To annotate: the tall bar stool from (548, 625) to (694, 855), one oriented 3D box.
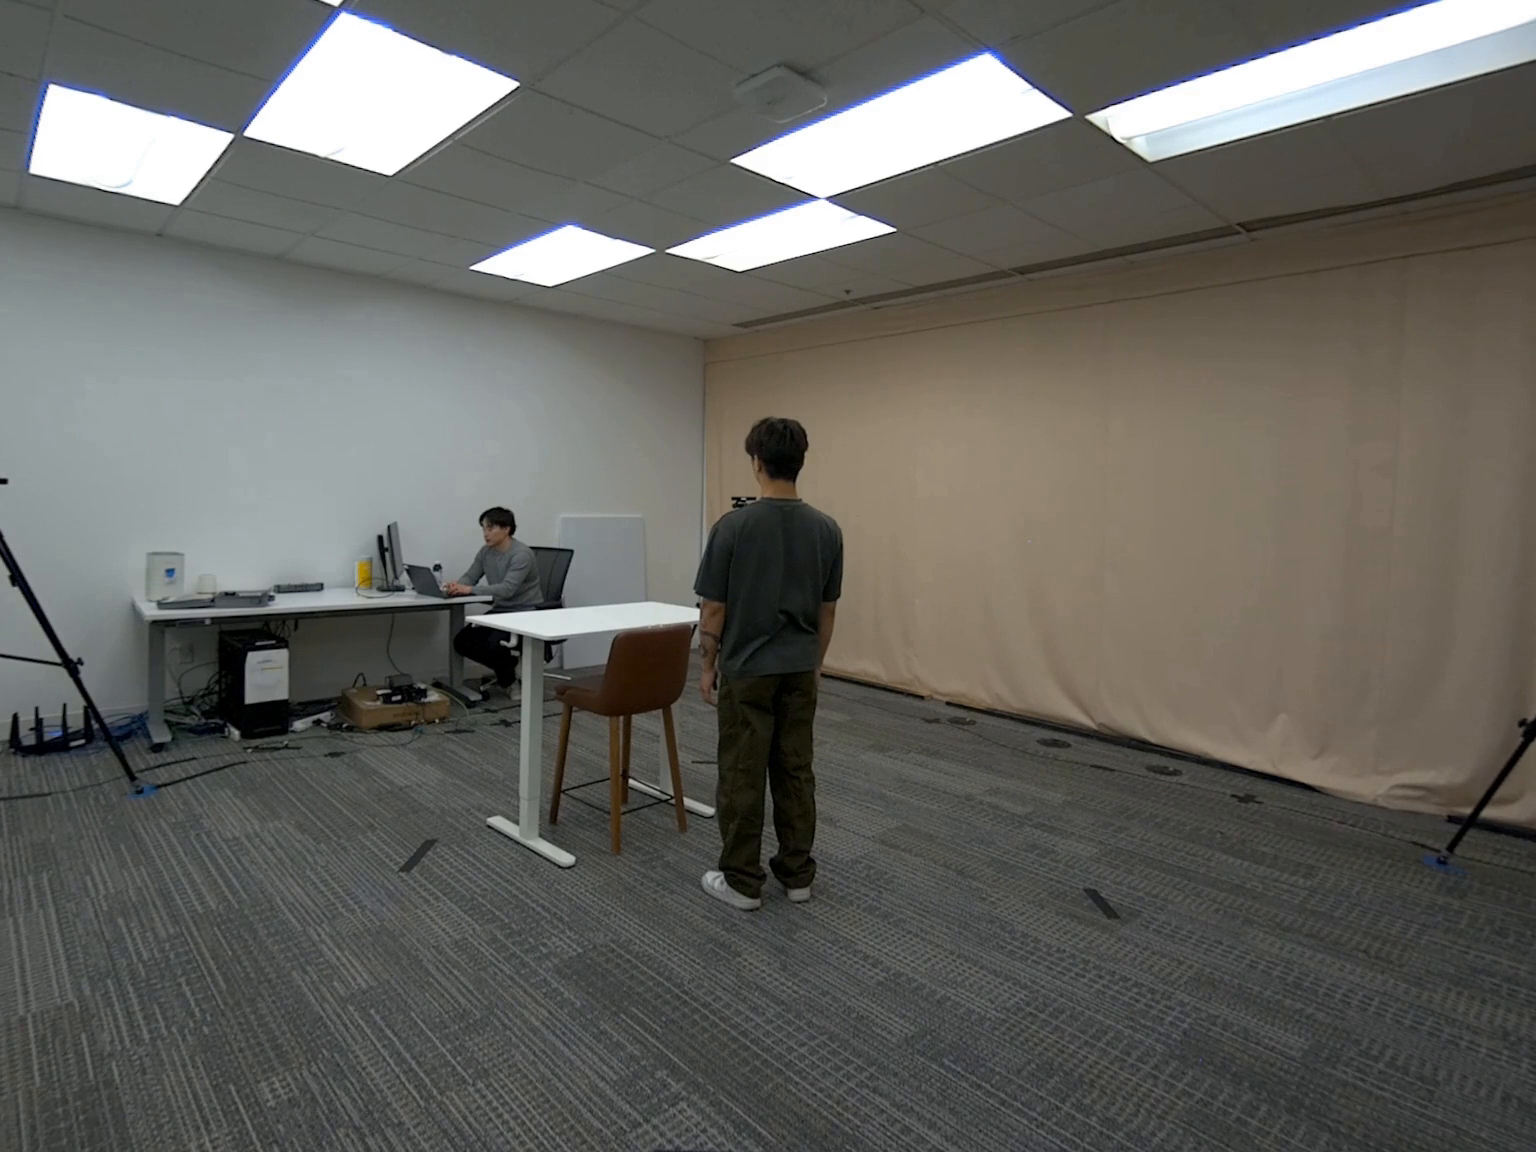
[{"bbox_3d":[-0.617,0.624,3.512,0.480,0.887,0.446,7,6,43],"label":"tall bar stool"}]
